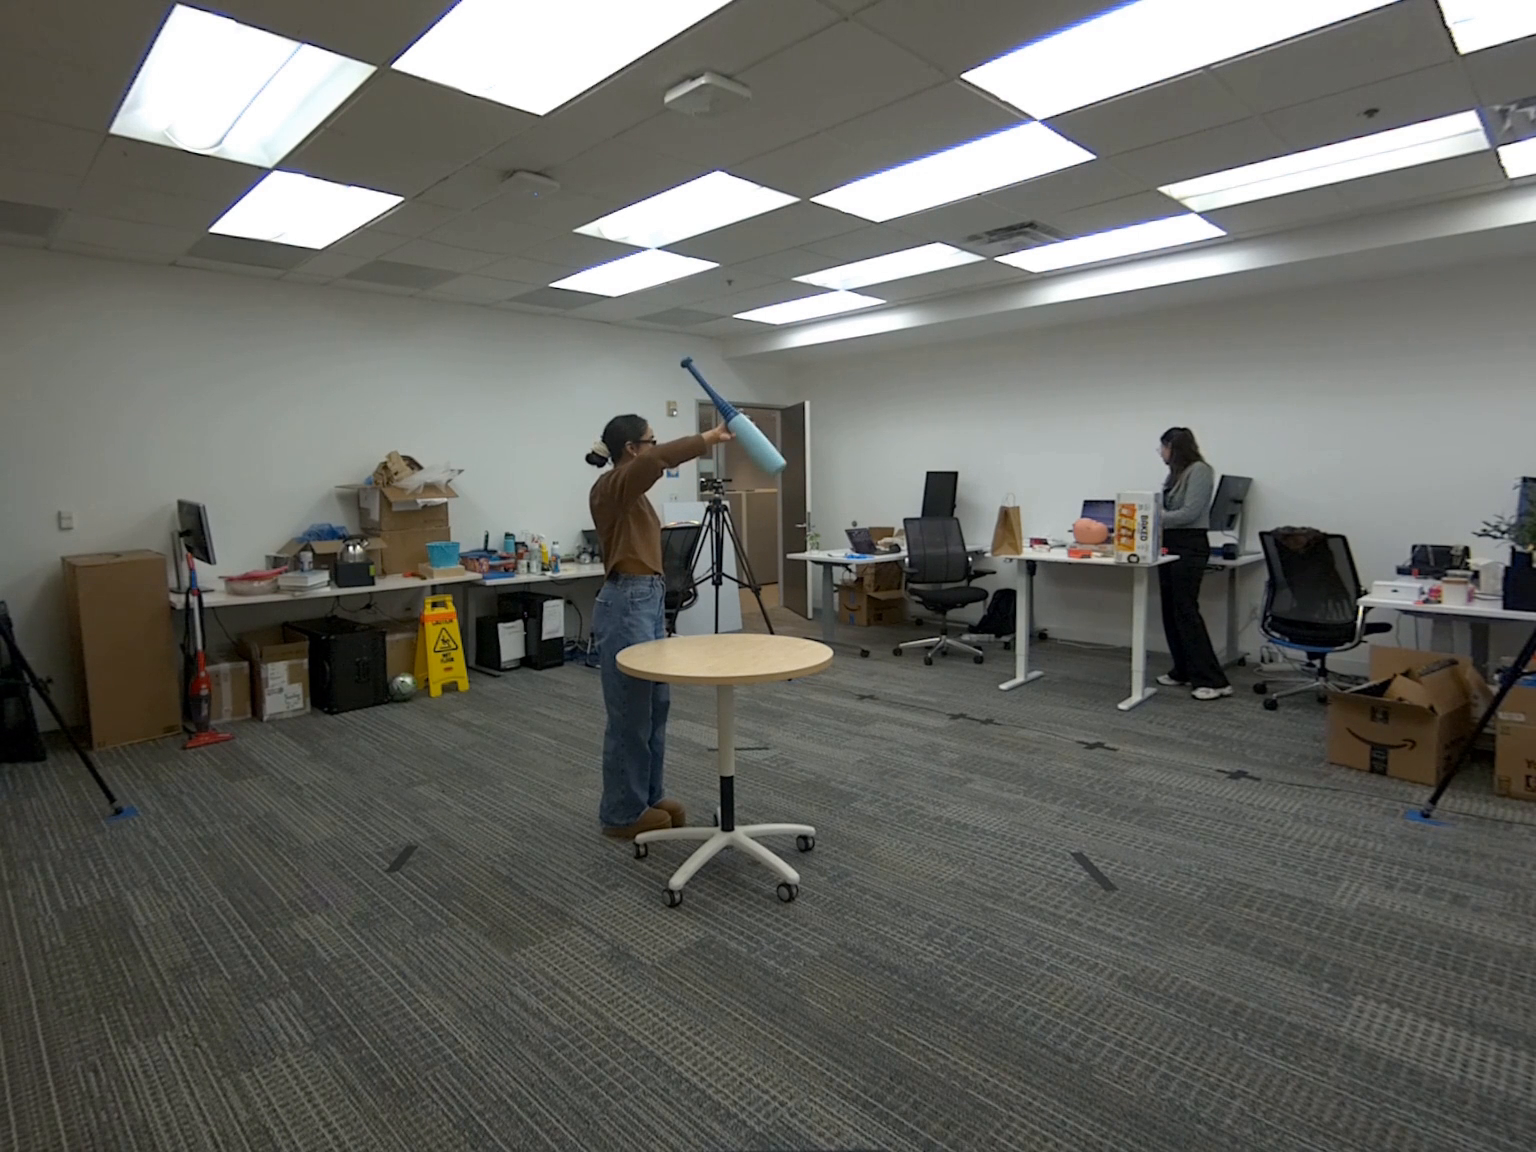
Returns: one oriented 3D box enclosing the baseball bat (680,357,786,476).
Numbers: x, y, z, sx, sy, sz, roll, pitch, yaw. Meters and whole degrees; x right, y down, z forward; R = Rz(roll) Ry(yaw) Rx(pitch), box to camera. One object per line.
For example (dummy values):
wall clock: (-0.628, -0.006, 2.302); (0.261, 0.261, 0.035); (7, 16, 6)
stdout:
baseball bat: (-0.134, -0.582, 3.080); (0.089, 0.547, 0.088); (-39, -5, -5)
